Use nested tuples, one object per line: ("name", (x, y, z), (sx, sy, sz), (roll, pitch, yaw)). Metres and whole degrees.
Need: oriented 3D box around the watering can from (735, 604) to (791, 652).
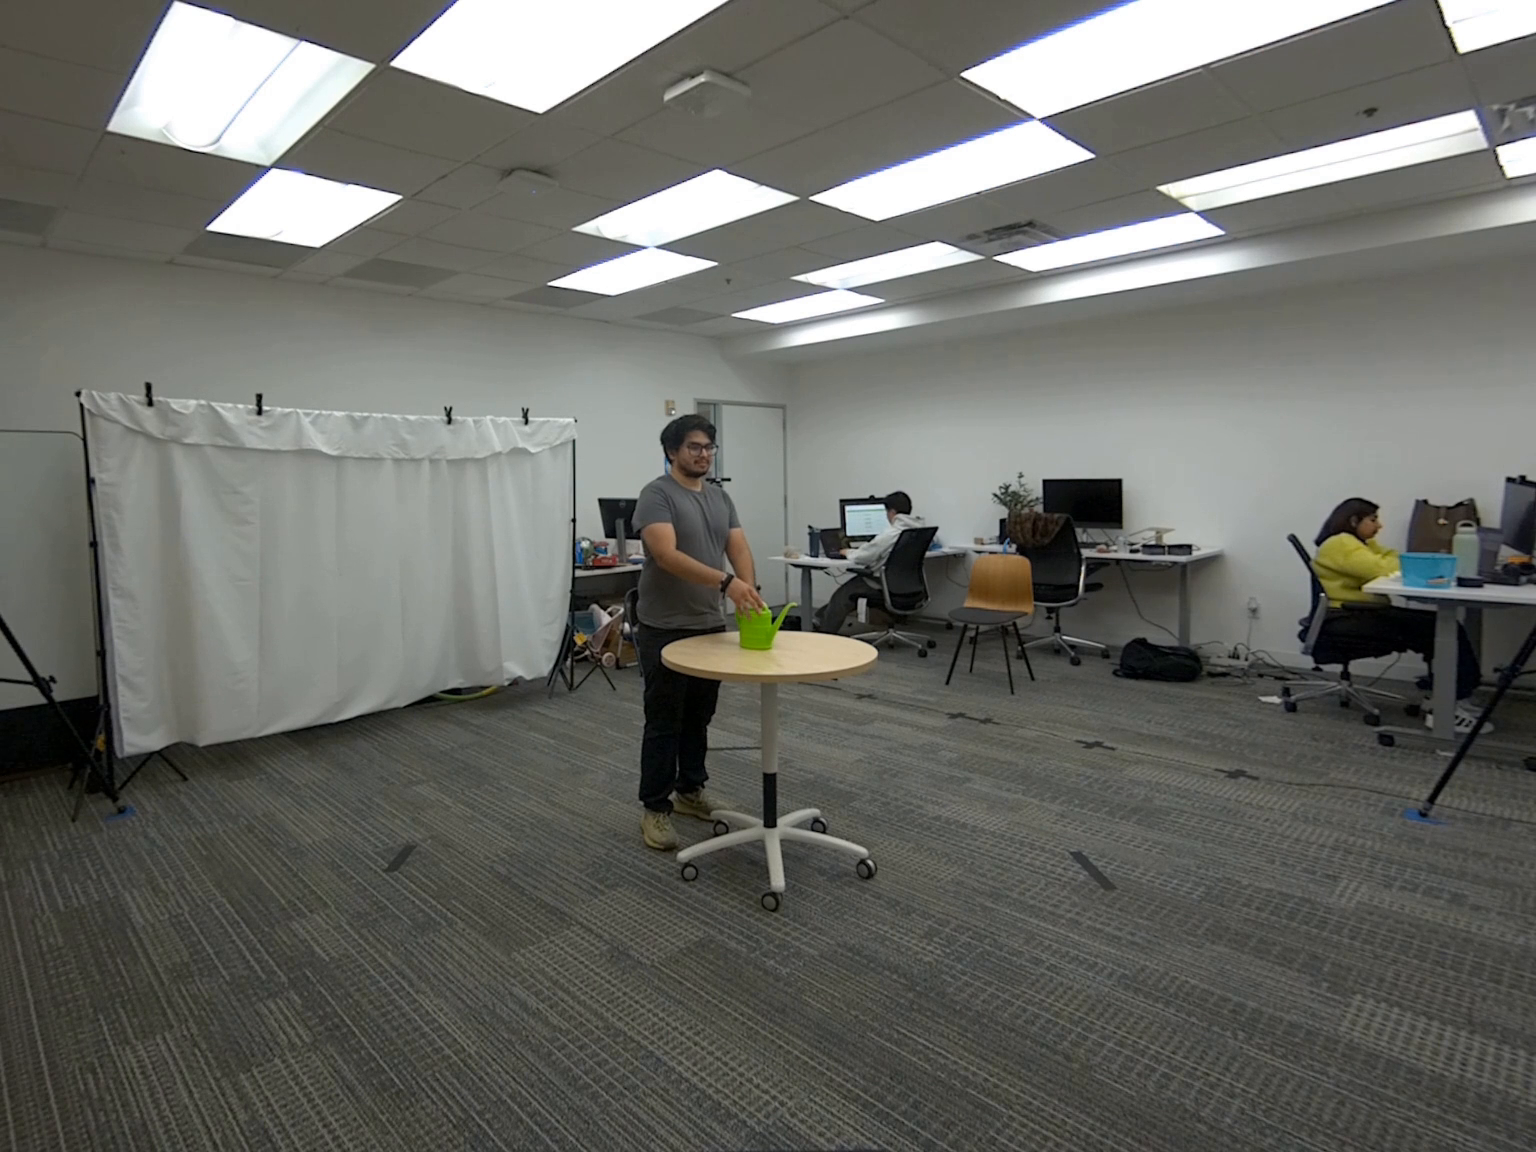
("watering can", (-0.011, 0.177, 3.059), (0.095, 0.176, 0.286), (-4, 3, -39))
